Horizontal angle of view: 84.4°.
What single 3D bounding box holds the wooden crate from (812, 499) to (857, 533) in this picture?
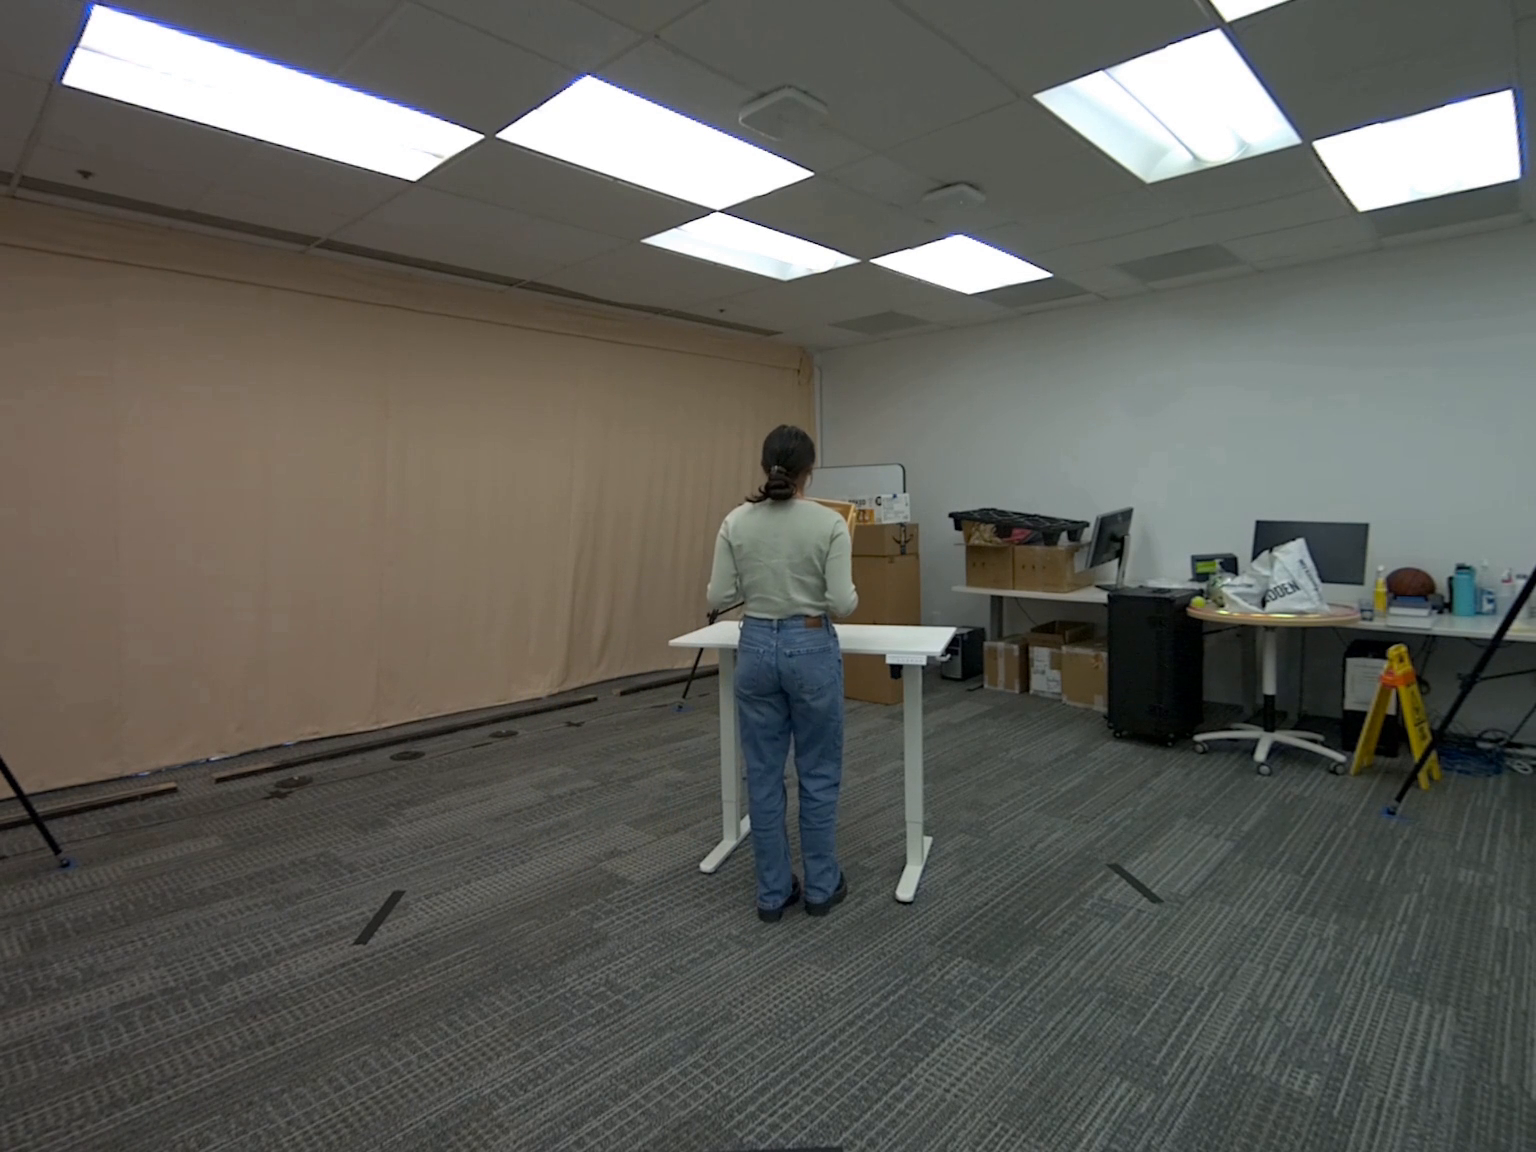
[{"bbox_3d":[0.153,-0.102,3.078,0.328,0.268,0.303,7,36,10],"label":"wooden crate"}]
